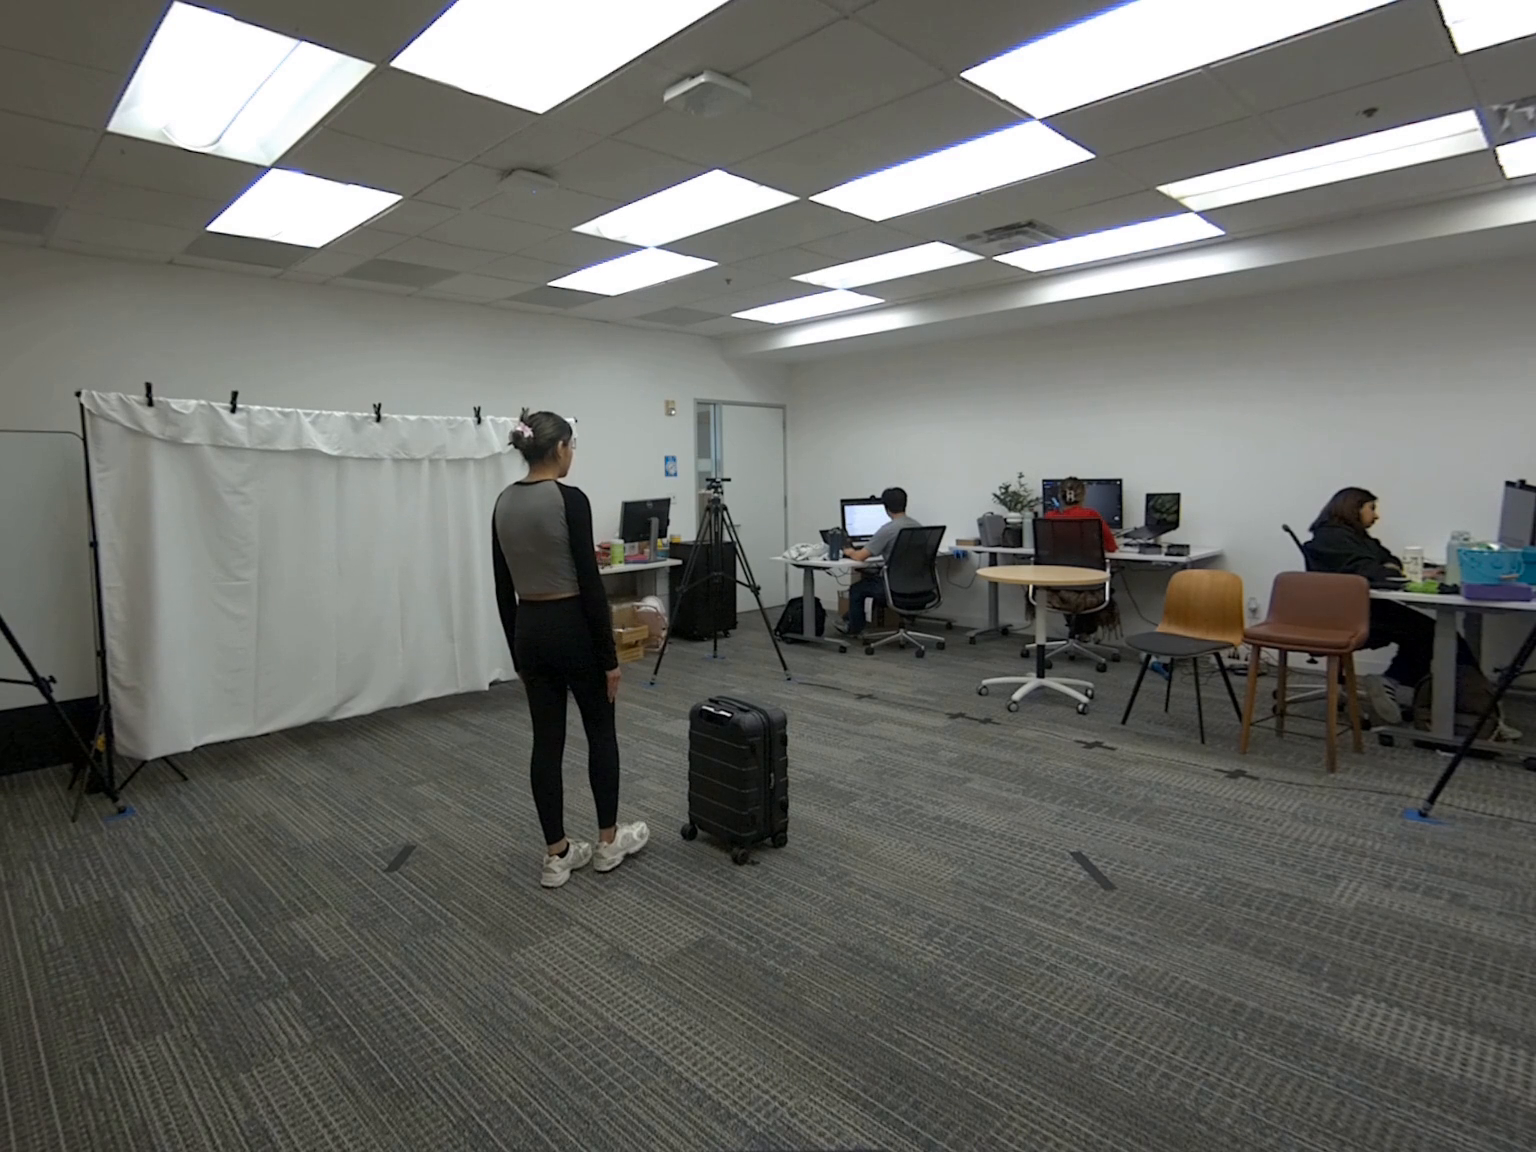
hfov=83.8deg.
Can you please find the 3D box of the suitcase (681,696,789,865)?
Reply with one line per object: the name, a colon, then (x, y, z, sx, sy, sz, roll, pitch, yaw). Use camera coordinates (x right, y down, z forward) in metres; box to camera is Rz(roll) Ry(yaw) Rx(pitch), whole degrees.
suitcase: (-0.119, 0.748, 3.284, 0.241, 0.548, 0.387, -1, 3, -43)
